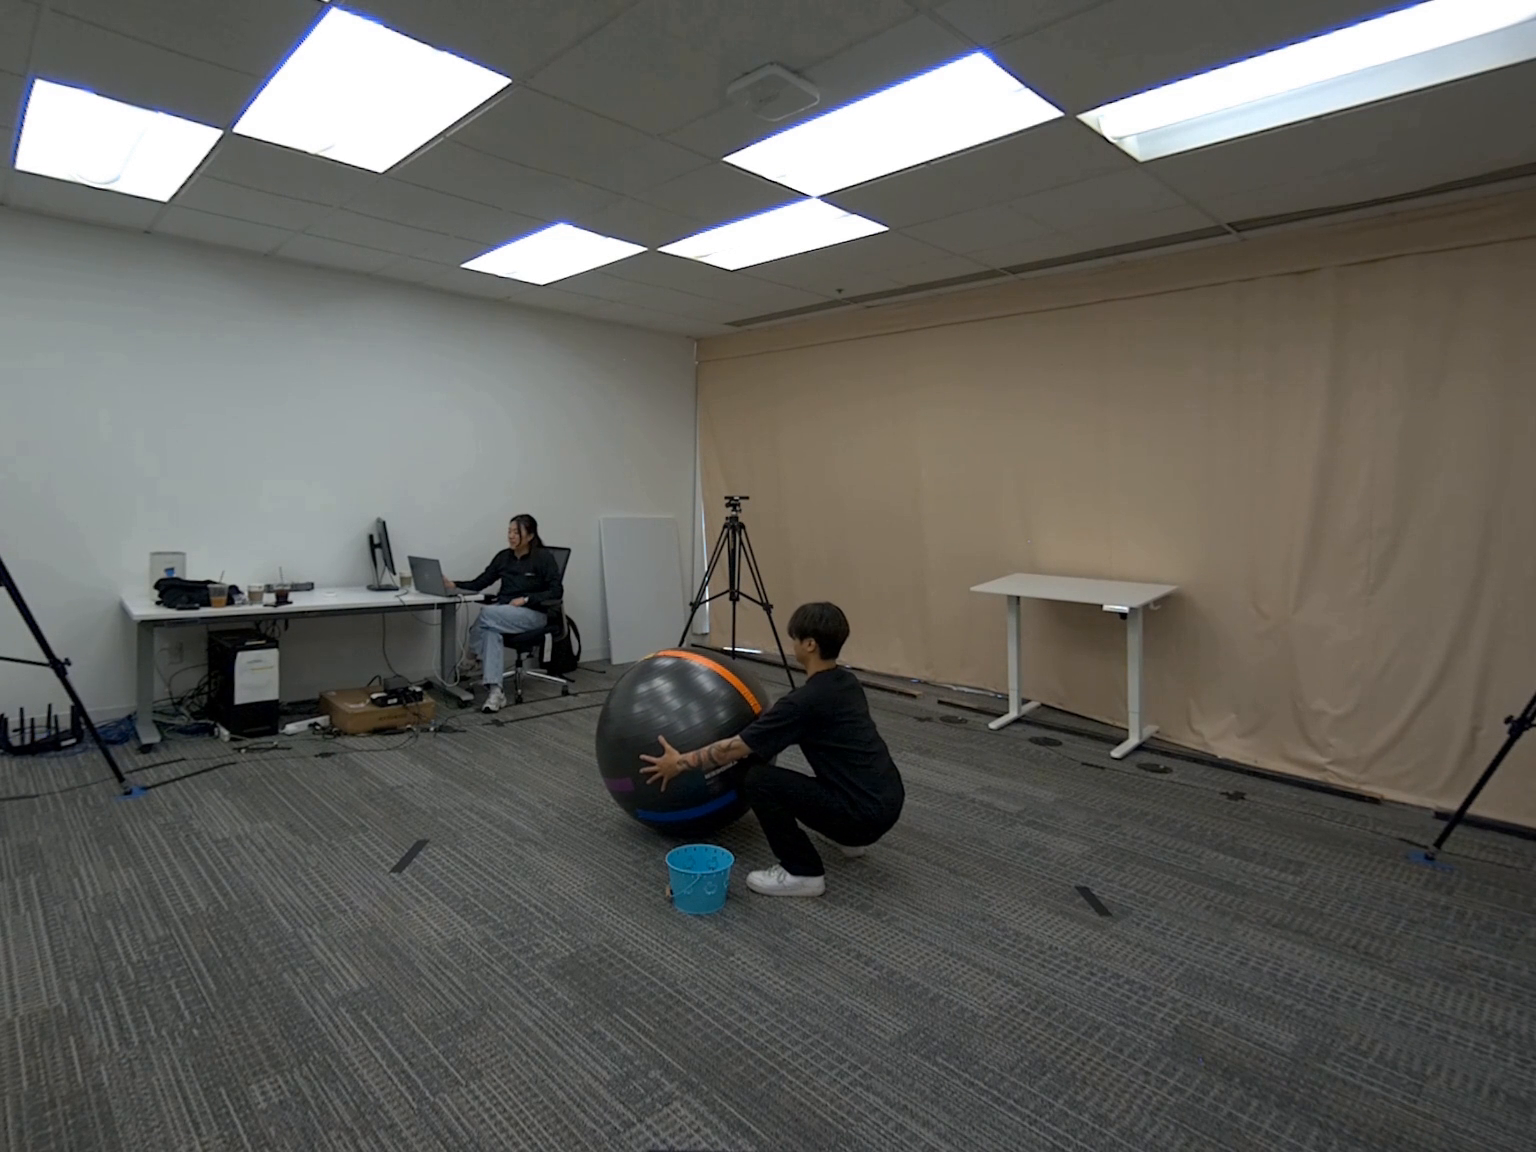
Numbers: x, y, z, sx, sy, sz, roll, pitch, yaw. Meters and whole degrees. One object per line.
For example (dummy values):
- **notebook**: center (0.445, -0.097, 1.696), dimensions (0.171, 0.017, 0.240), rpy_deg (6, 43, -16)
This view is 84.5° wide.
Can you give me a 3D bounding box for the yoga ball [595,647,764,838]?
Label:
- **yoga ball**: center (-0.351, 0.691, 3.529), dimensions (0.757, 0.756, 0.761), rpy_deg (1, 4, -1)
